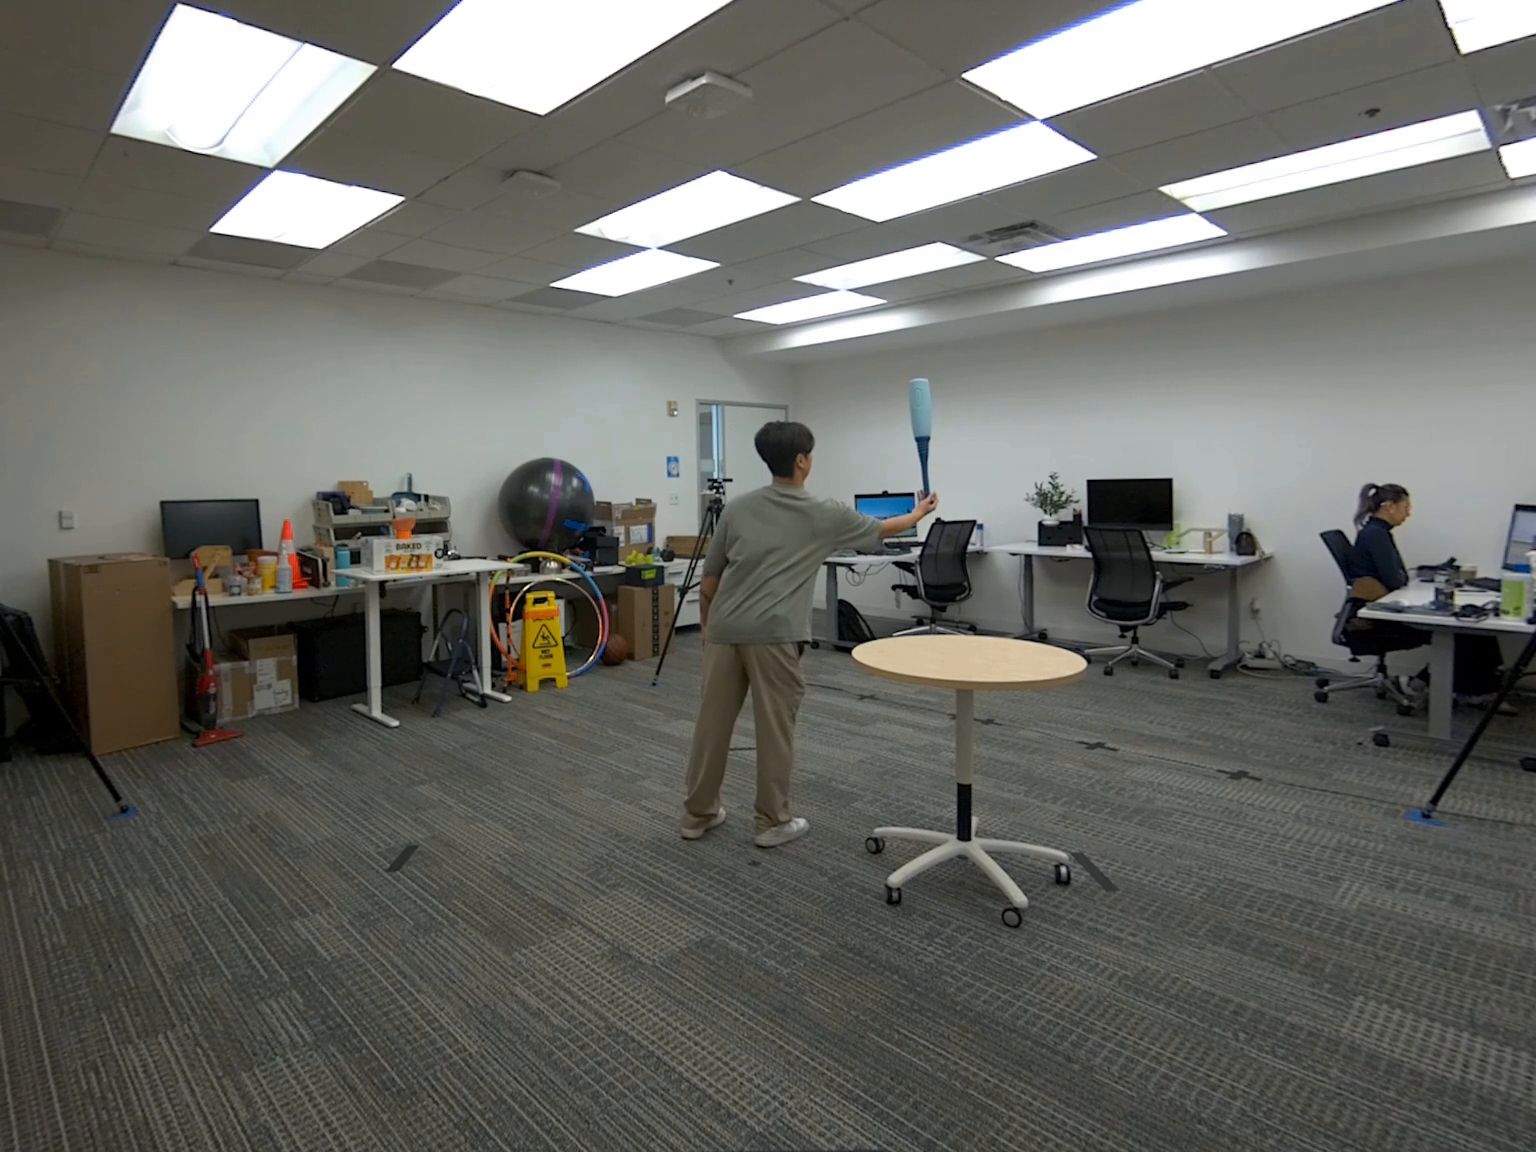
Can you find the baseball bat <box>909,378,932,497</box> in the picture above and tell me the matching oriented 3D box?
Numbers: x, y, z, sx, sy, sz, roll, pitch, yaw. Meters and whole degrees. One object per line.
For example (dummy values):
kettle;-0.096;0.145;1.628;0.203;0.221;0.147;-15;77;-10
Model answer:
baseball bat;0.660;-0.580;3.679;0.089;0.544;0.089;-2;-2;-2
